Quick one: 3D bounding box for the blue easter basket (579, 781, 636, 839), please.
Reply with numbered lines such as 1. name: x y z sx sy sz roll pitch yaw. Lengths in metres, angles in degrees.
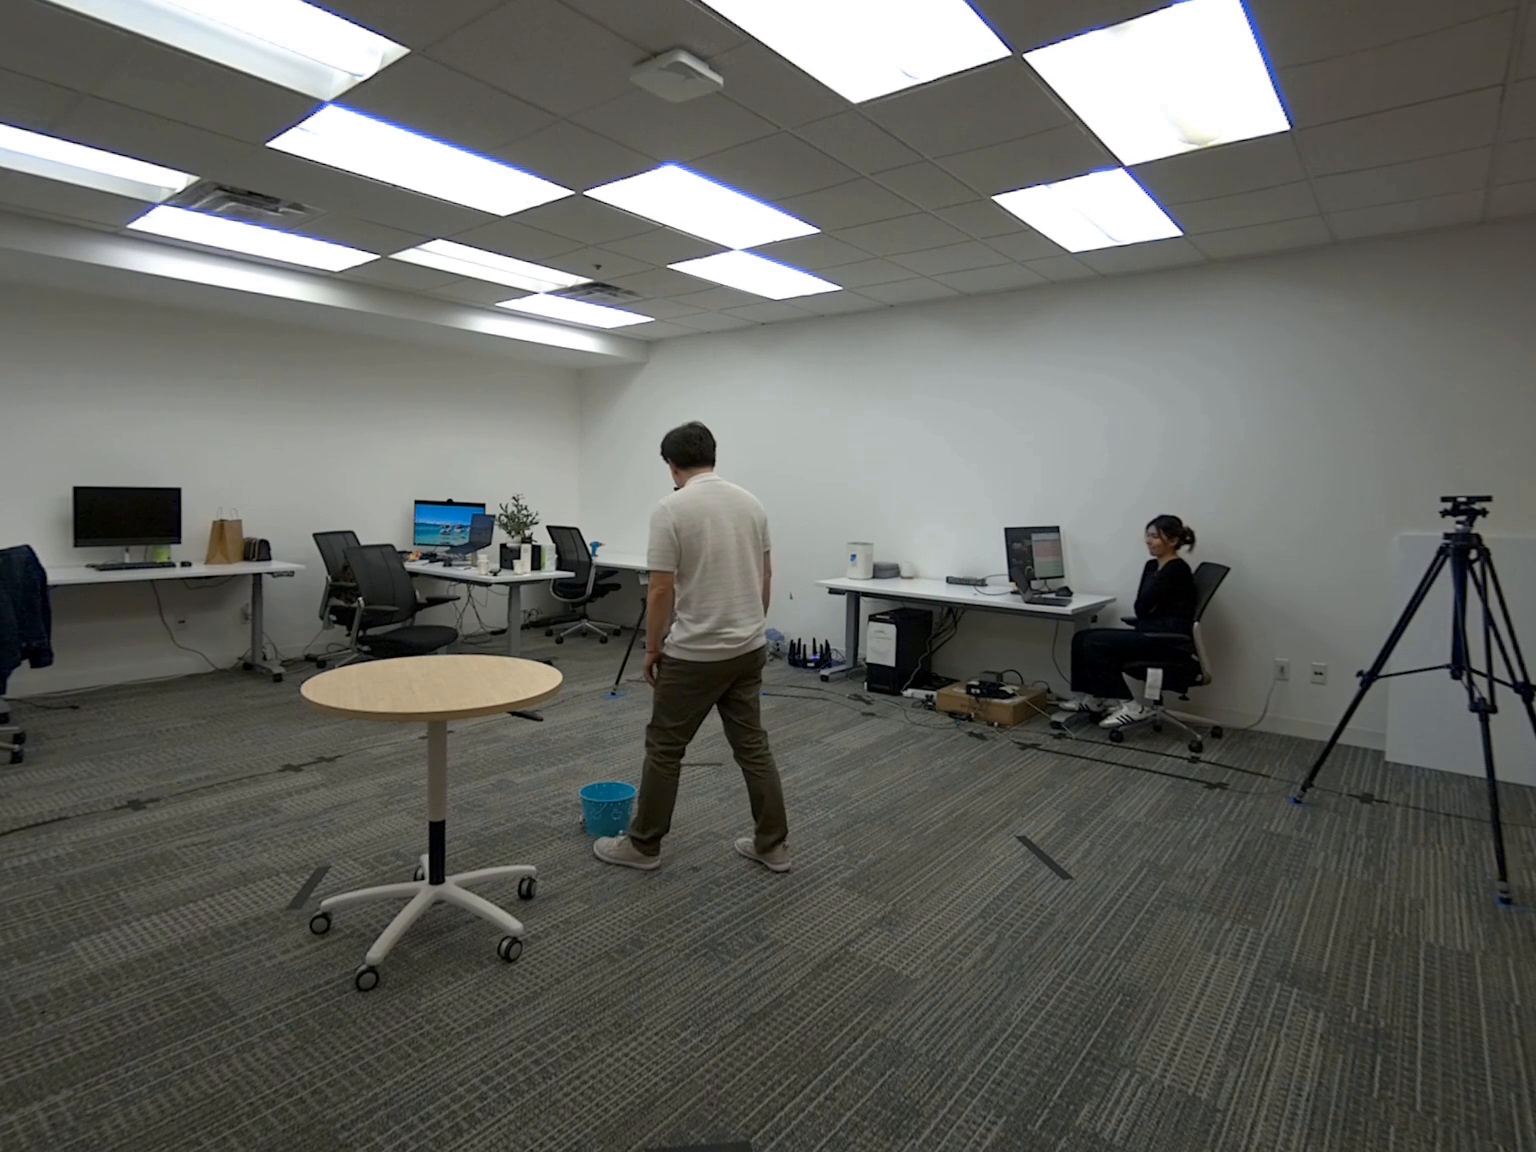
1. blue easter basket: -0.669 0.944 3.465 0.243 0.155 0.245 1 4 -2
